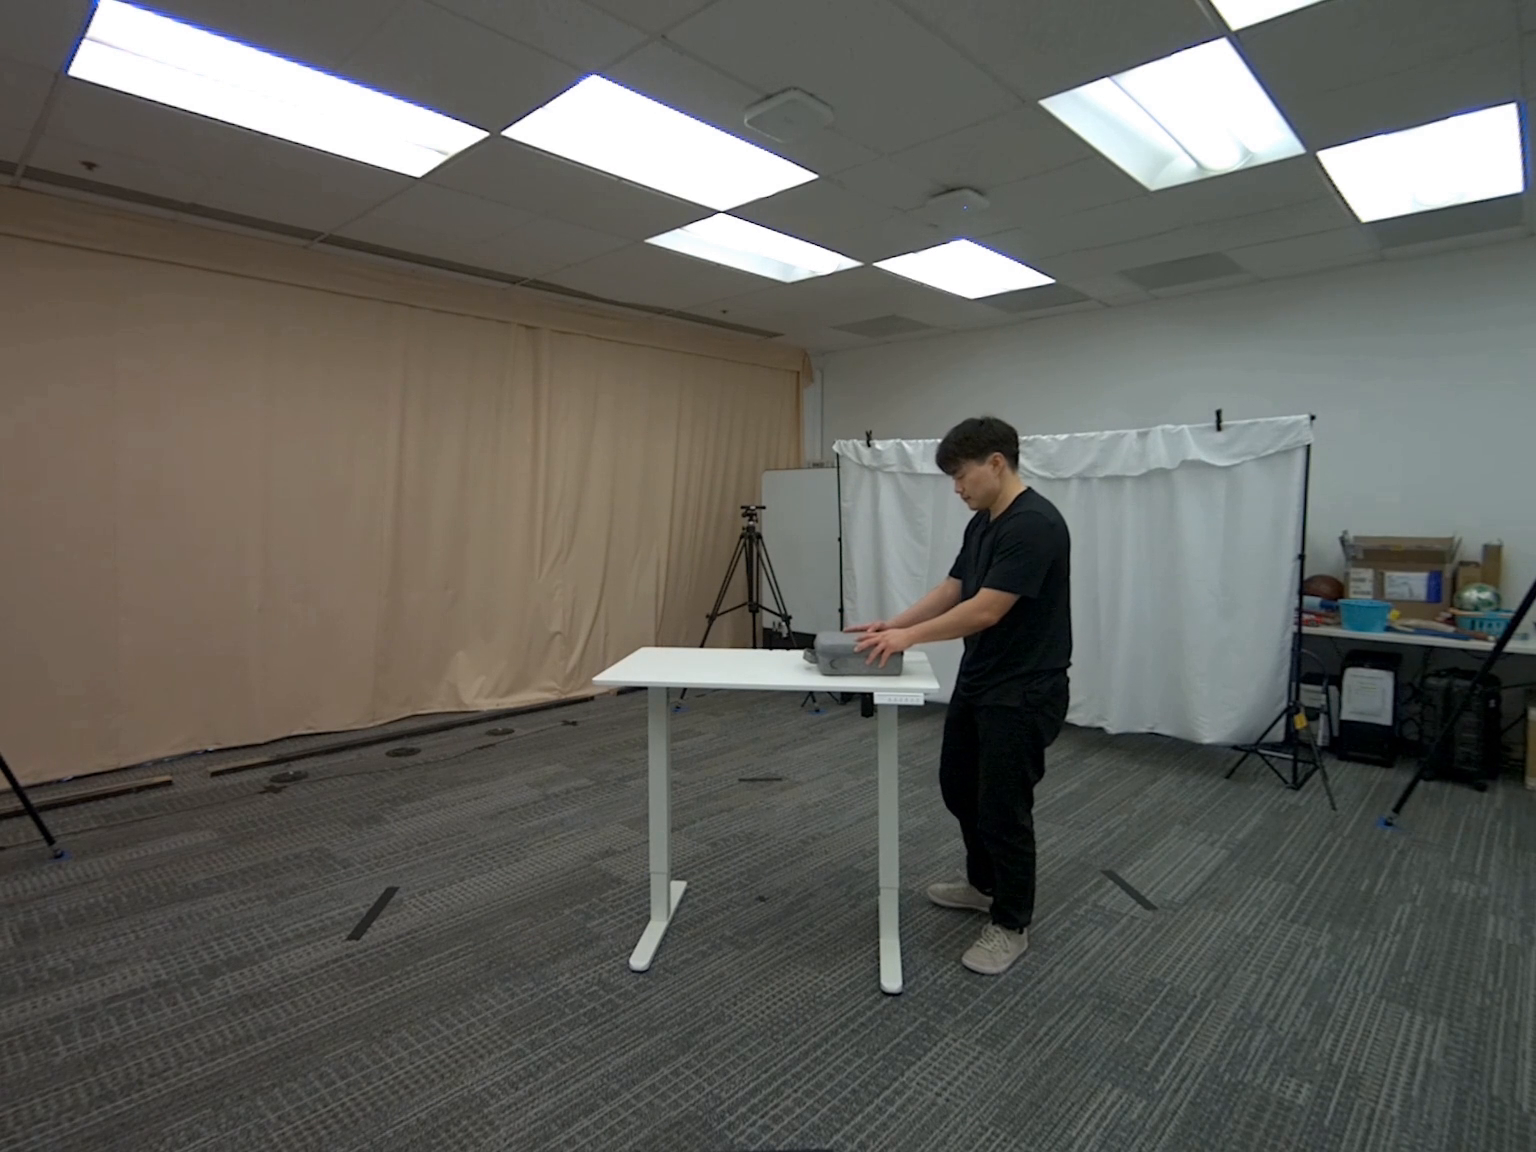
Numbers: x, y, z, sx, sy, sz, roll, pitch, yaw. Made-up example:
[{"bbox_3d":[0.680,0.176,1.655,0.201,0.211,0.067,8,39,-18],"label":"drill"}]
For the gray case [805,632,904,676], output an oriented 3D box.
[{"bbox_3d":[0.279,0.245,2.611,0.261,0.104,0.257,0,5,2],"label":"gray case"}]
